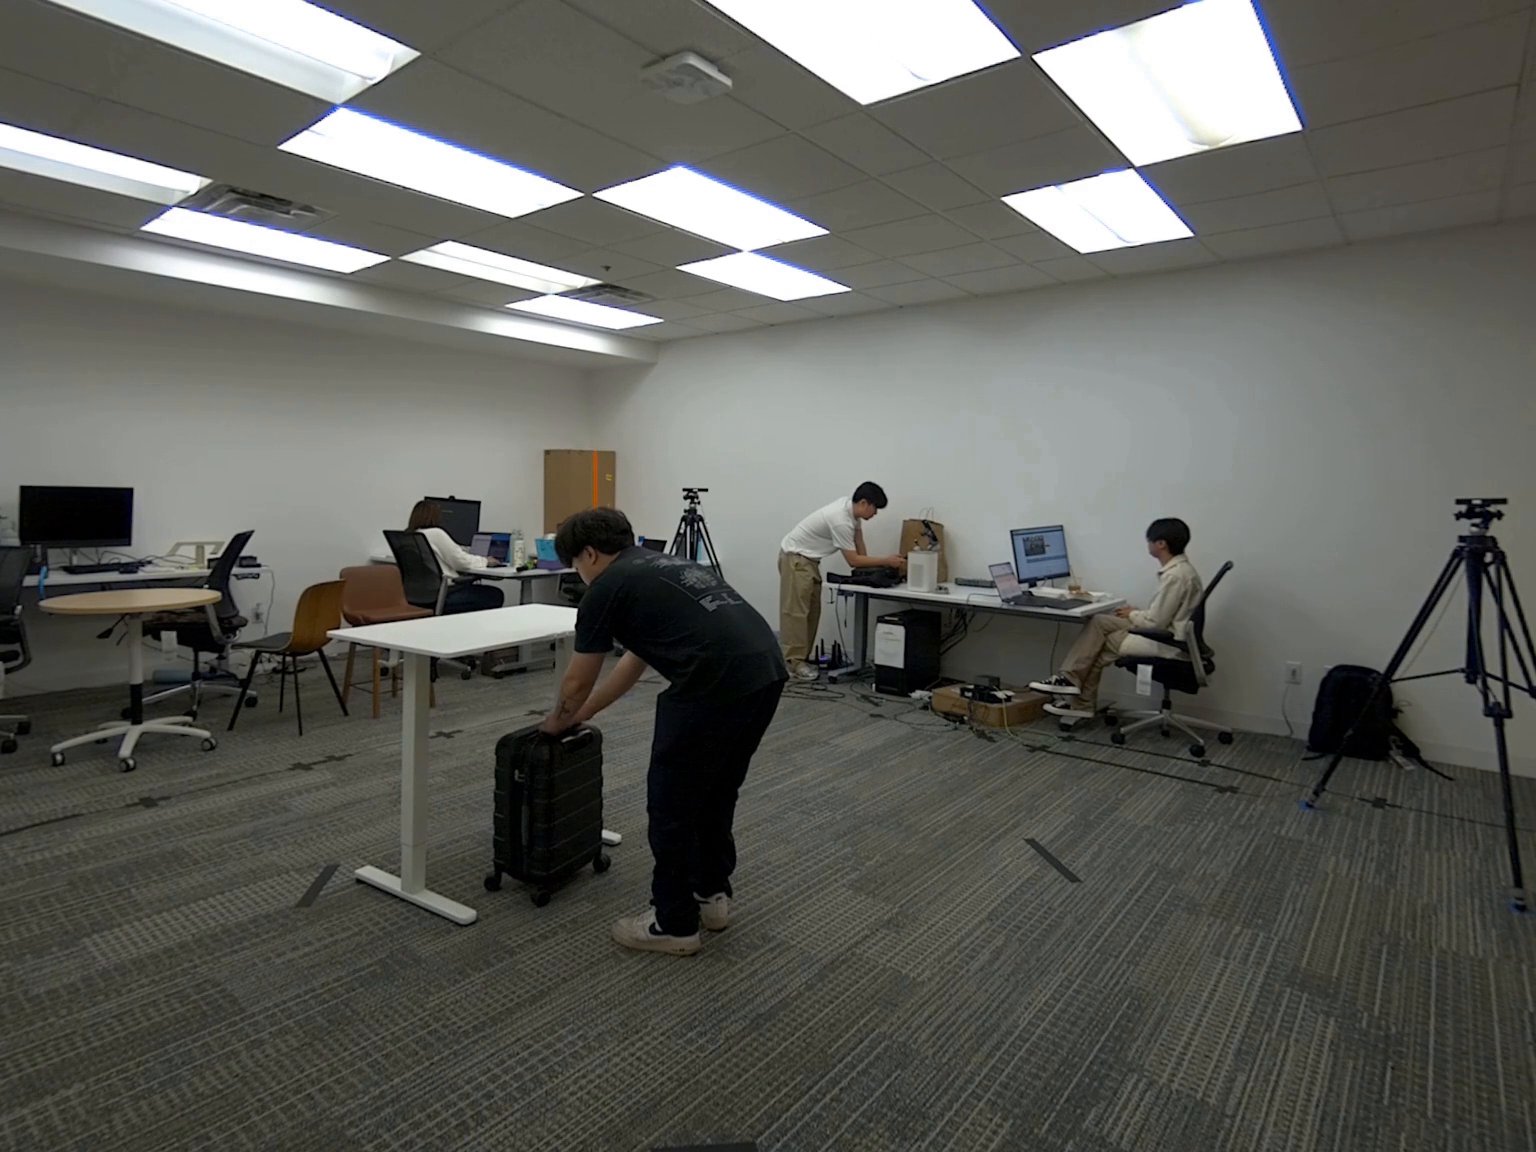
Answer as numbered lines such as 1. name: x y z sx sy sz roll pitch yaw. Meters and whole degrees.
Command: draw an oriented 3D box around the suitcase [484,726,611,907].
1. suitcase: -0.773 0.803 3.004 0.255 0.548 0.367 1 4 25
